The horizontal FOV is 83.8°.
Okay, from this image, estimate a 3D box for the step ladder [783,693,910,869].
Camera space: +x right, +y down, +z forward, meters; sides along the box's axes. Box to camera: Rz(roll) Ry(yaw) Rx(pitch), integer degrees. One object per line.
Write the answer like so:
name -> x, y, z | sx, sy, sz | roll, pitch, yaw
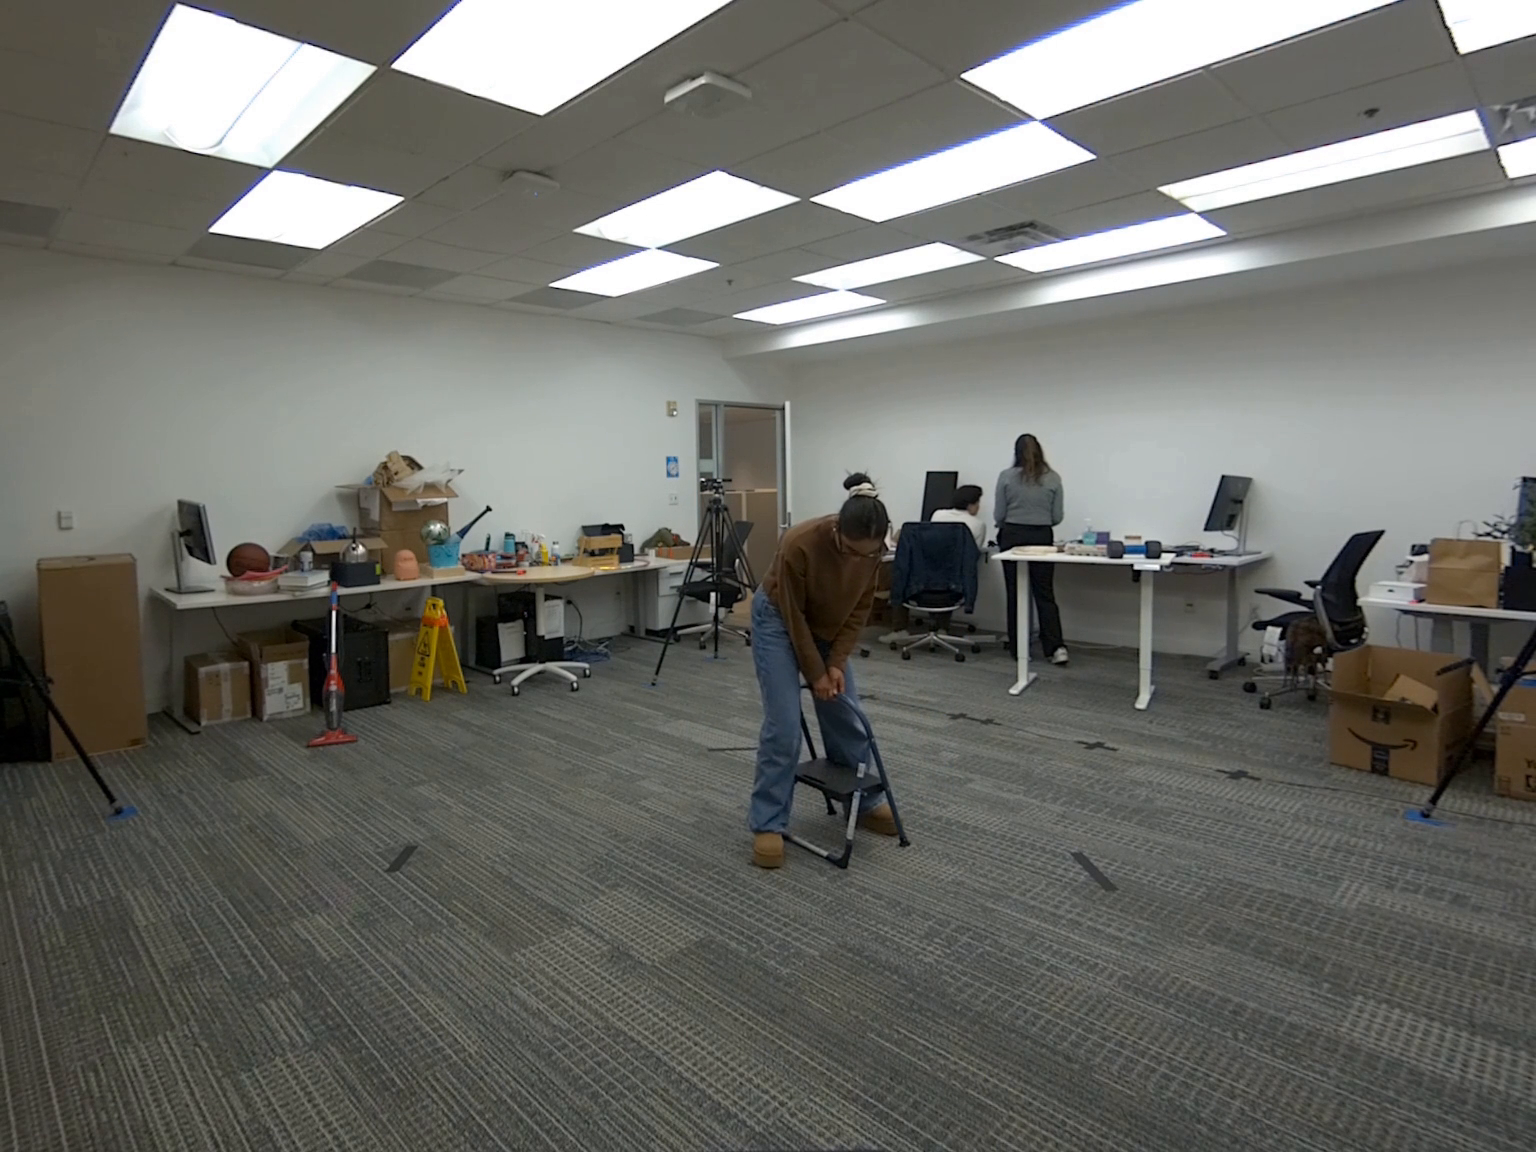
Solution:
step ladder -> 0.270, 0.718, 3.285 | 0.340, 0.604, 0.443 | -4, 5, -38
